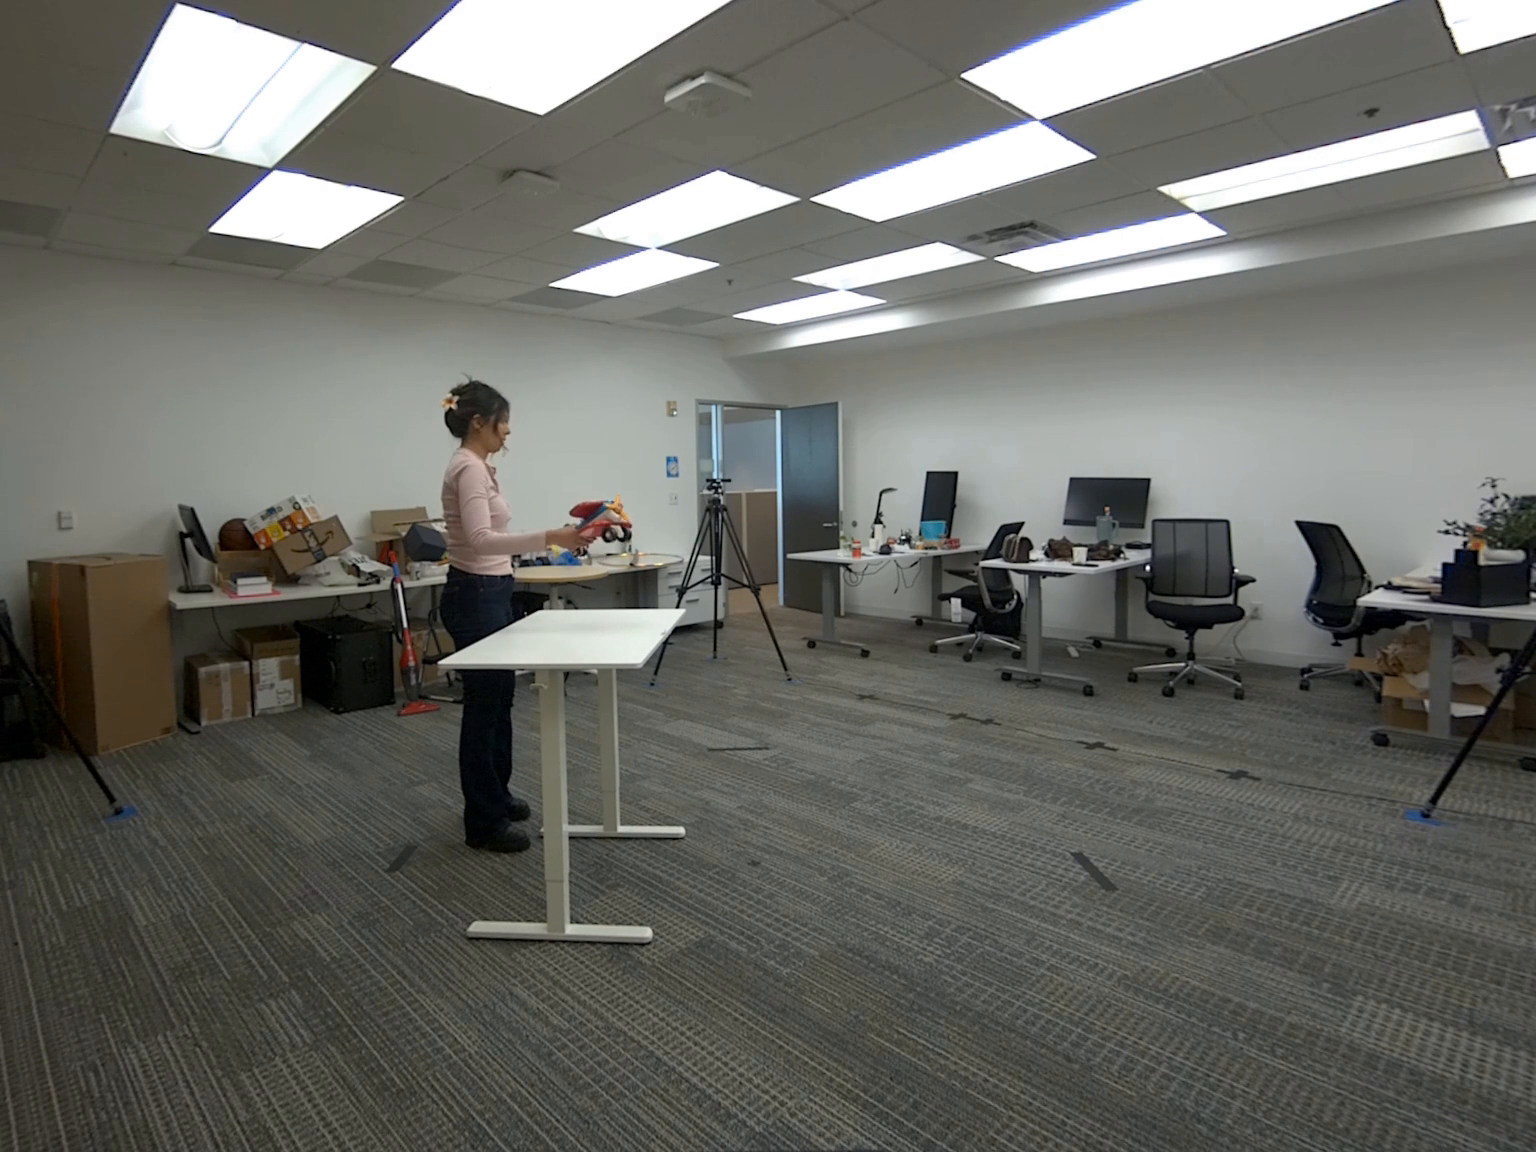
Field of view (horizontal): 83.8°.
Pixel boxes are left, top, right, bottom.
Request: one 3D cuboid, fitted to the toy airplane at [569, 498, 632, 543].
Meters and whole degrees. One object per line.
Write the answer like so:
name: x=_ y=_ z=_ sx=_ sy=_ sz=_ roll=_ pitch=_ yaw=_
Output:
toy airplane: x=-0.617 y=-0.165 z=2.979 sx=0.259 sy=0.158 sz=0.249 roll=-15 pitch=-6 yaw=-1
